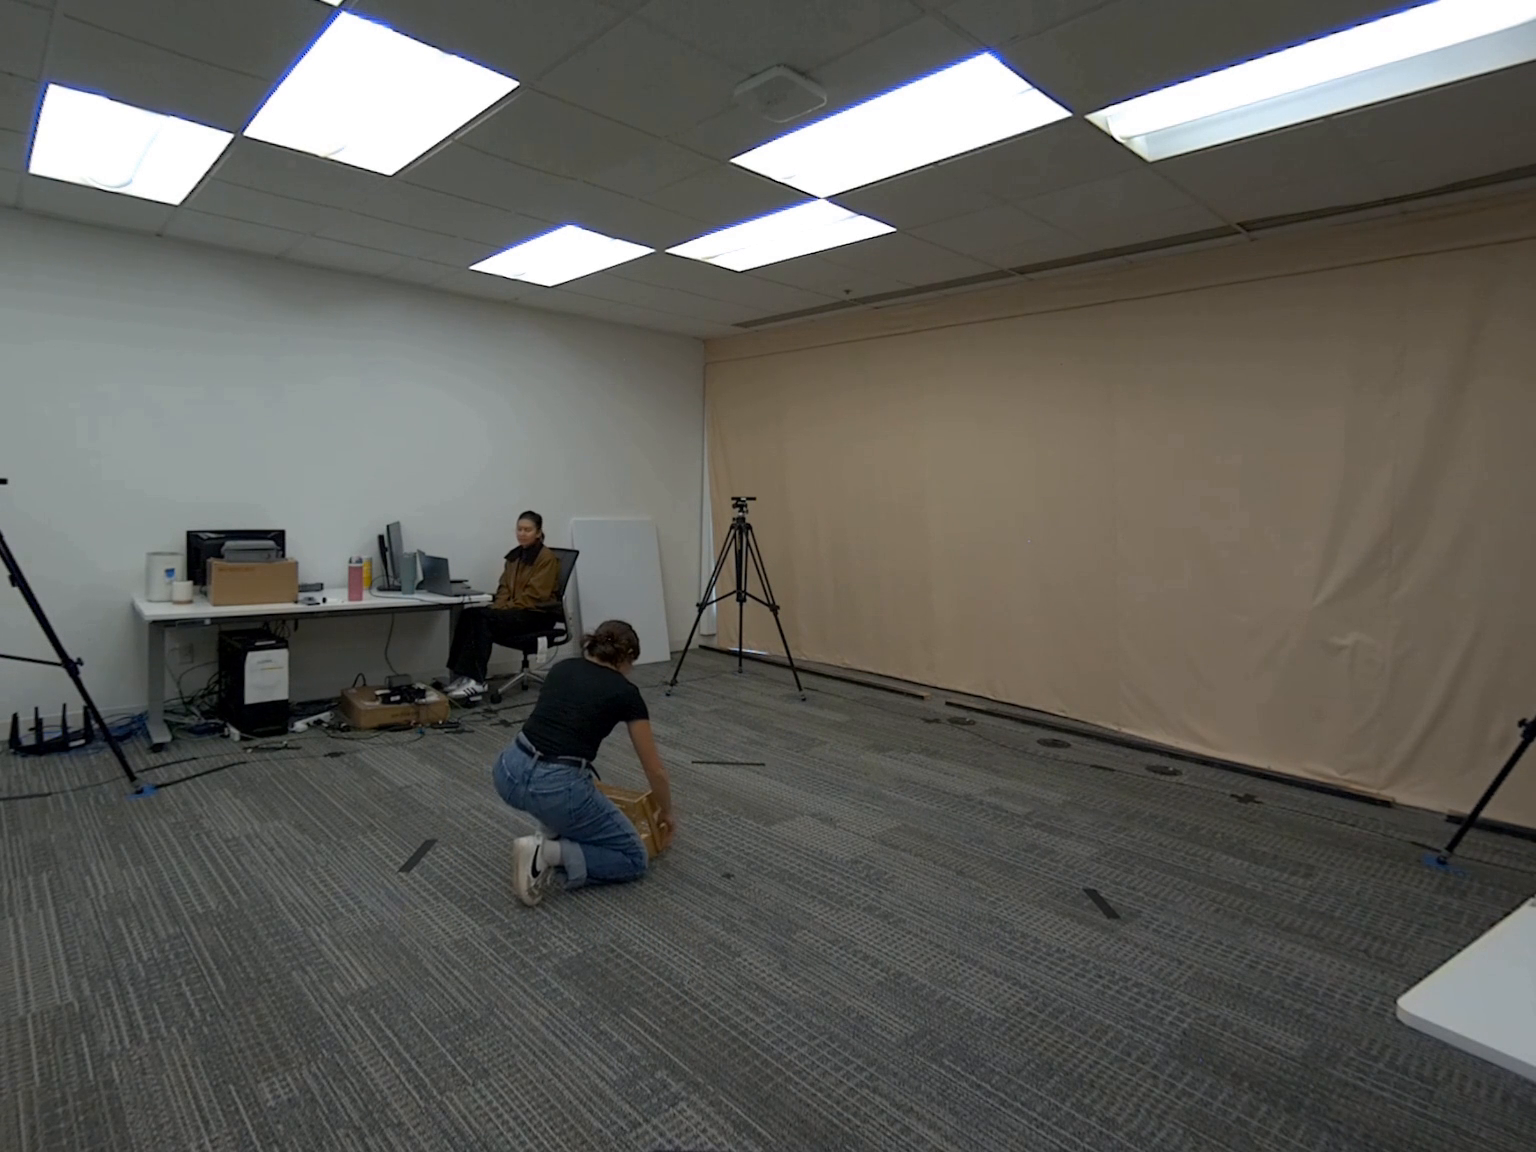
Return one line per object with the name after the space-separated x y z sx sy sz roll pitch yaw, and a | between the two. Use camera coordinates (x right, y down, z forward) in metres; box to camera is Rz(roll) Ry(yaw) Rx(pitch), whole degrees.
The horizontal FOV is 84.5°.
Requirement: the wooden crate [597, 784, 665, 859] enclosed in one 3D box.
-0.585 0.944 3.326 0.330 0.272 0.298 3 6 22 | wooden crate
